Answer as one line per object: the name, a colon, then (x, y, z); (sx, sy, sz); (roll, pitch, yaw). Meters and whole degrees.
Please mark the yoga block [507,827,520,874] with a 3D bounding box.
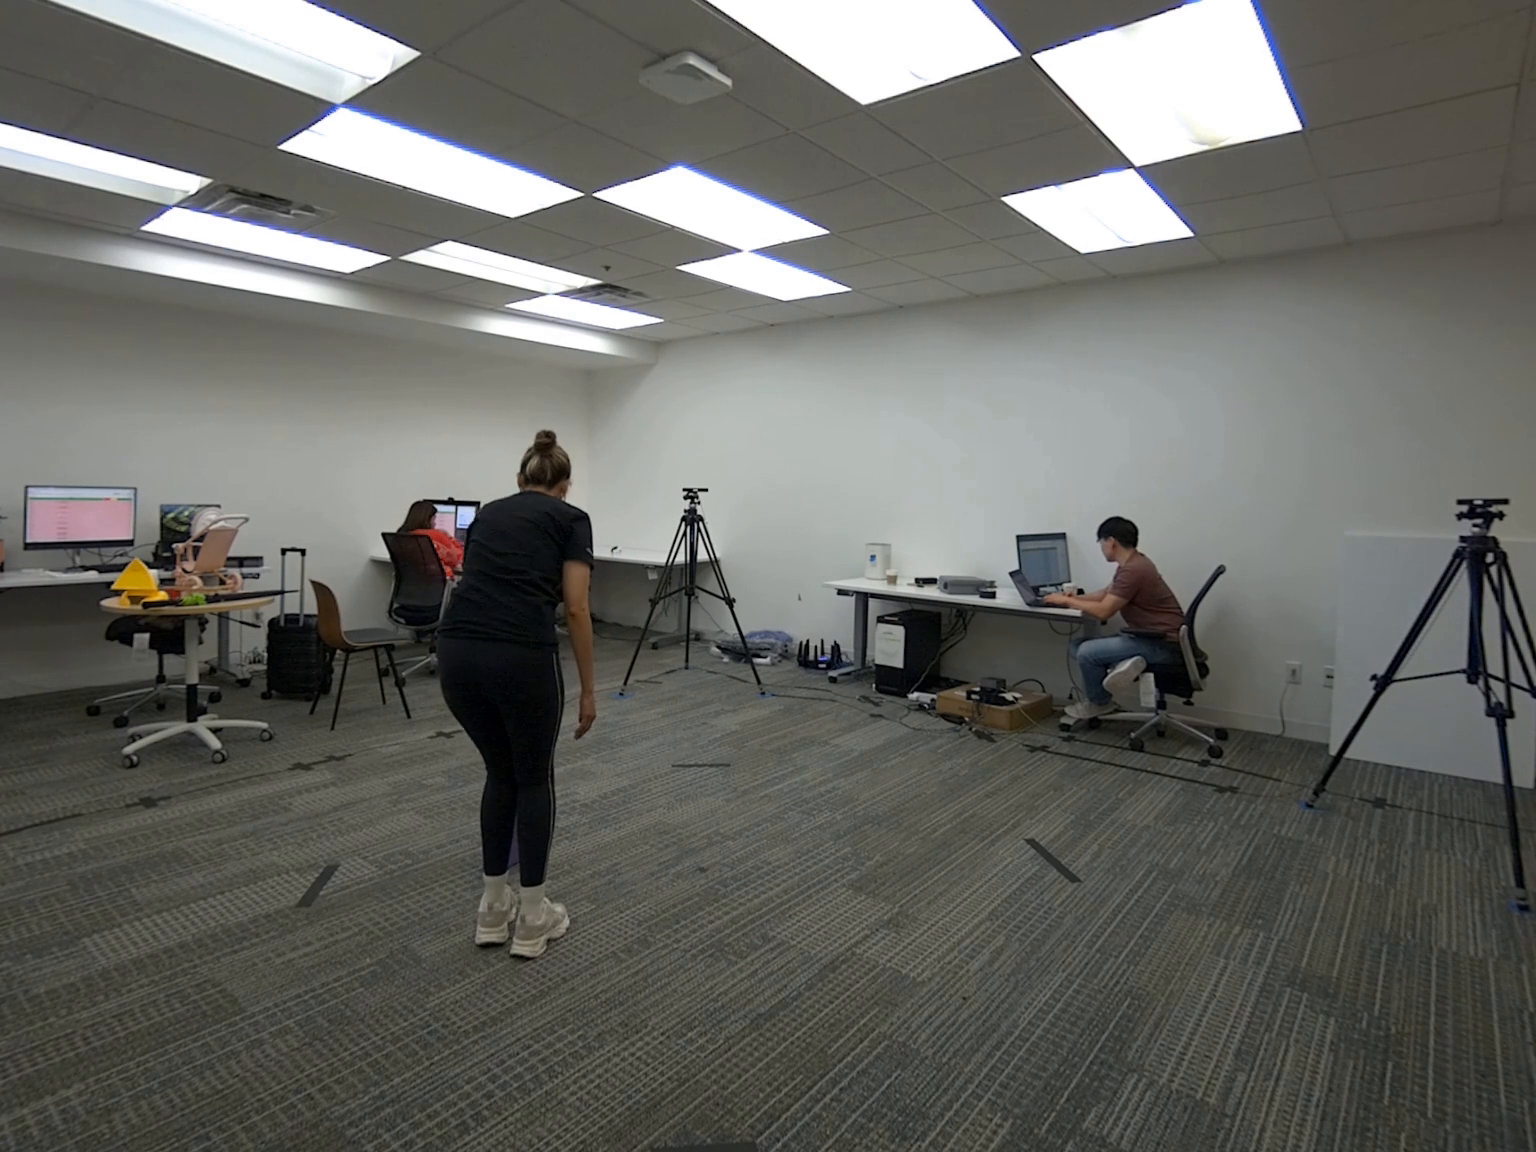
yoga block: (-0.969, 0.935, 3.096); (0.078, 0.229, 0.145); (4, 3, 23)
